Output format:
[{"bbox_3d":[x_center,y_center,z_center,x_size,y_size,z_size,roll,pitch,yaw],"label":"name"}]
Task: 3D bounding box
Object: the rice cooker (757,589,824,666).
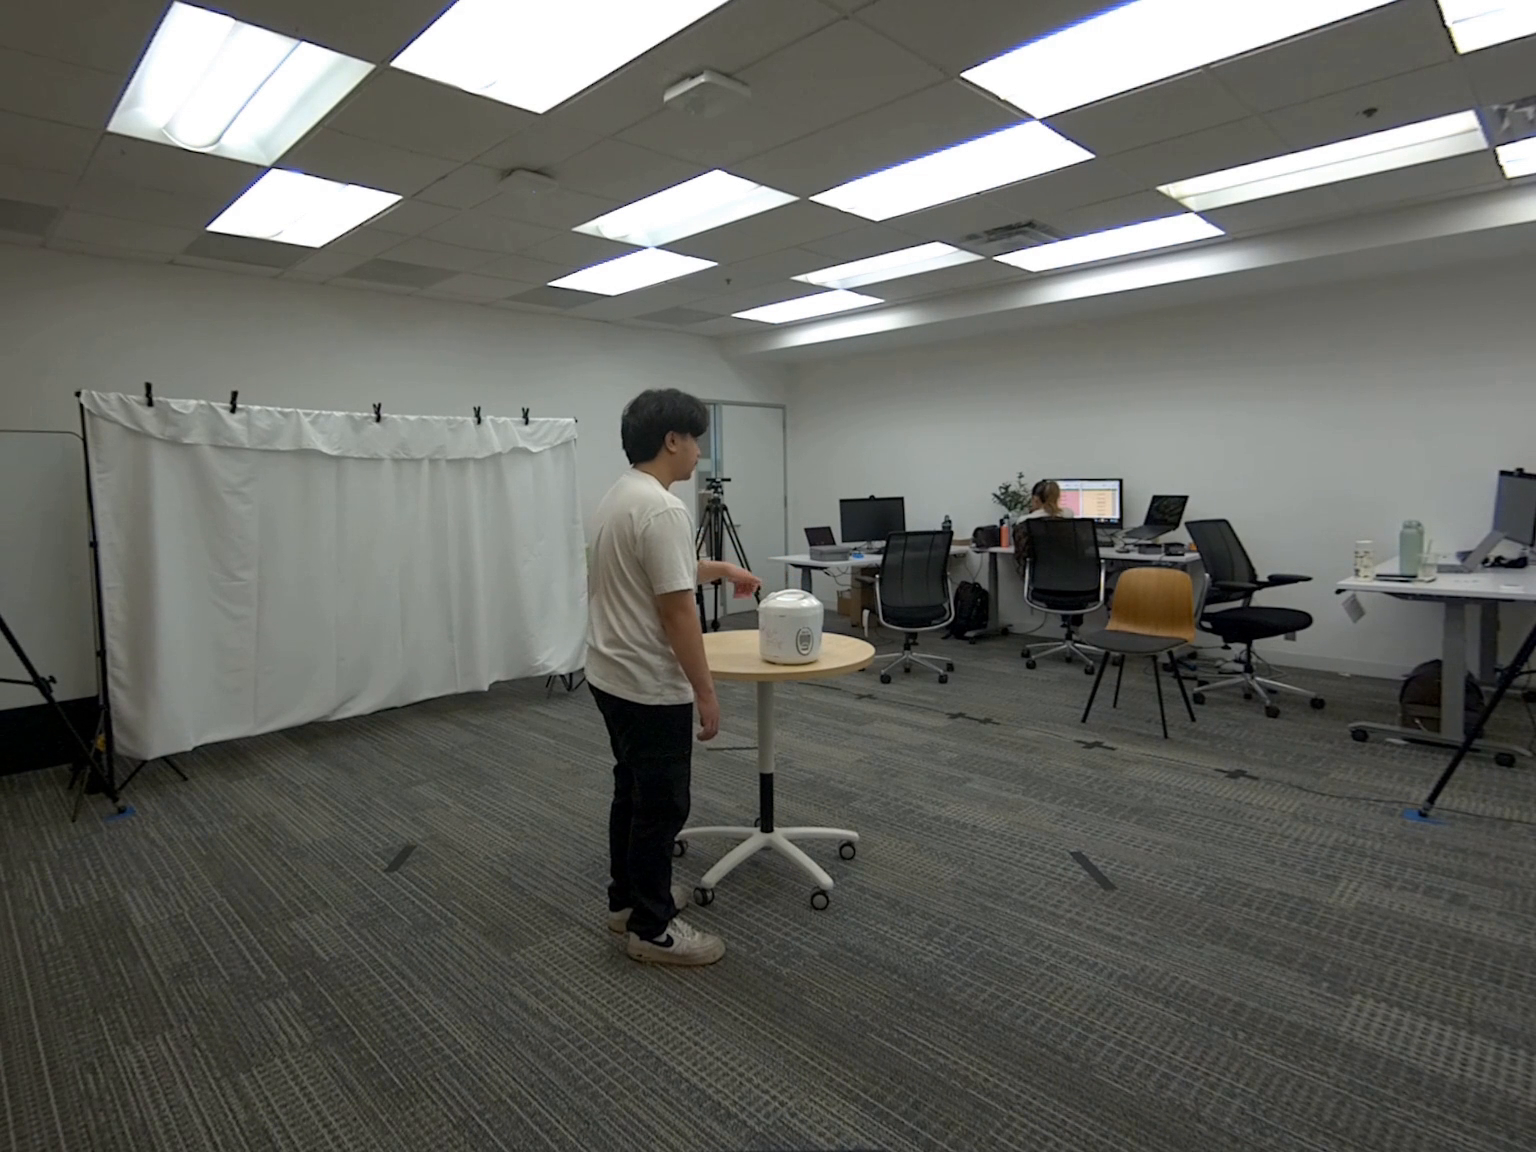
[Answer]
[{"bbox_3d":[0.080,0.161,2.802,0.216,0.232,0.222,-3,4,-22],"label":"rice cooker"}]
